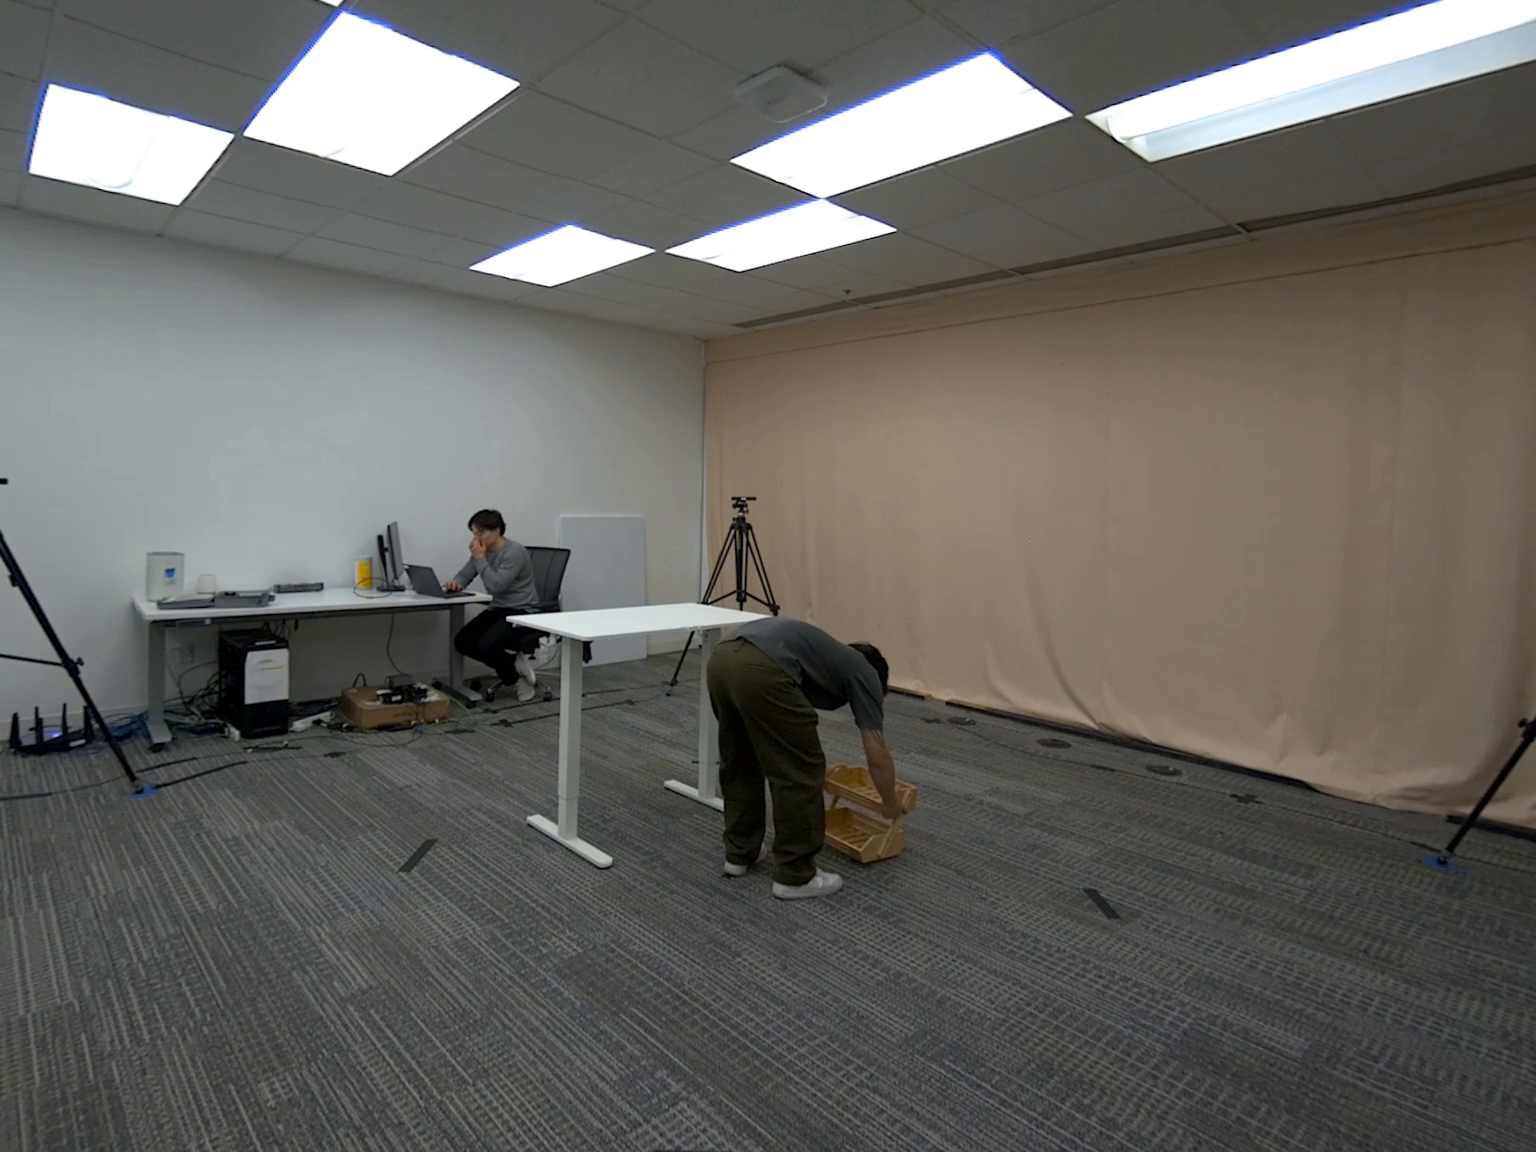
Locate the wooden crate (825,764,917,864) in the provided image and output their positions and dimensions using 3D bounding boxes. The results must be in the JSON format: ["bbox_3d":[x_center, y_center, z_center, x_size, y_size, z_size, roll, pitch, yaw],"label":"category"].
[{"bbox_3d":[0.362,0.934,3.364,0.294,0.273,0.333,7,1,-42],"label":"wooden crate"}]
